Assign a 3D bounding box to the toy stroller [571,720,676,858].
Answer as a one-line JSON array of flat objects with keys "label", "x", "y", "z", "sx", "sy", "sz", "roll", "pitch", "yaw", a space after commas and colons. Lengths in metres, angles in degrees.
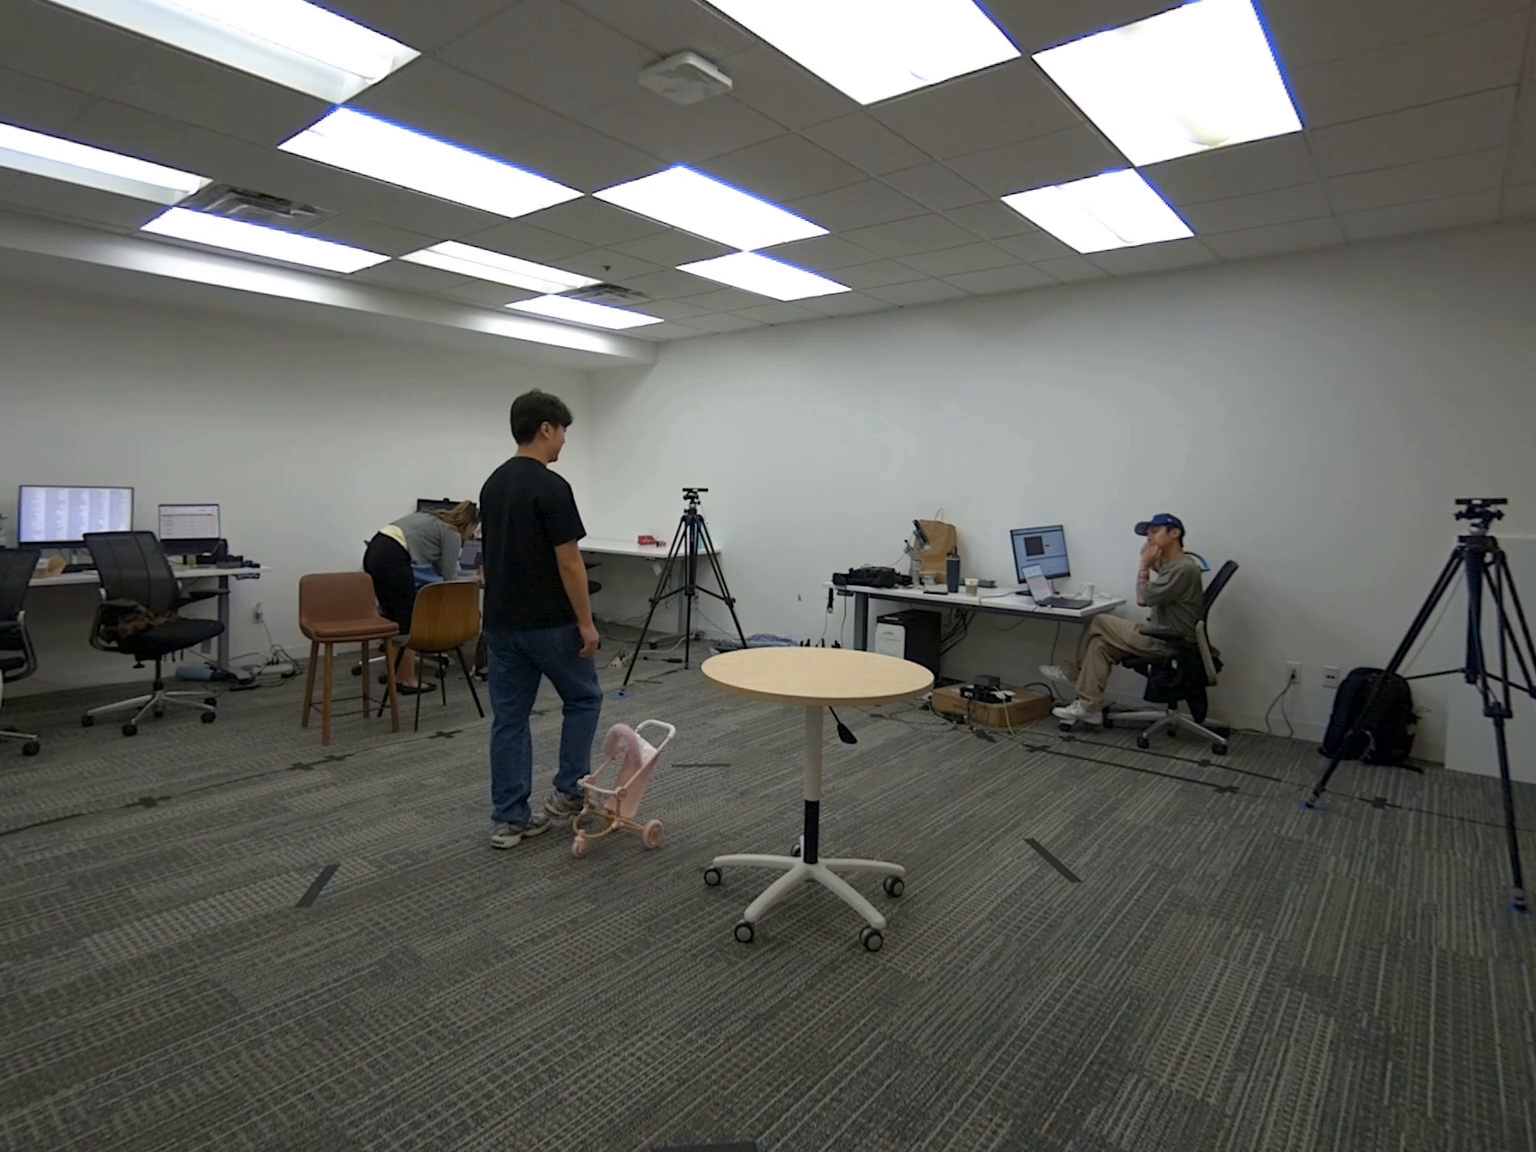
[{"label": "toy stroller", "x": -0.592, "y": 0.817, "z": 3.316, "sx": 0.328, "sy": 0.538, "sz": 0.291, "roll": 19, "pitch": -10, "yaw": -43}]
